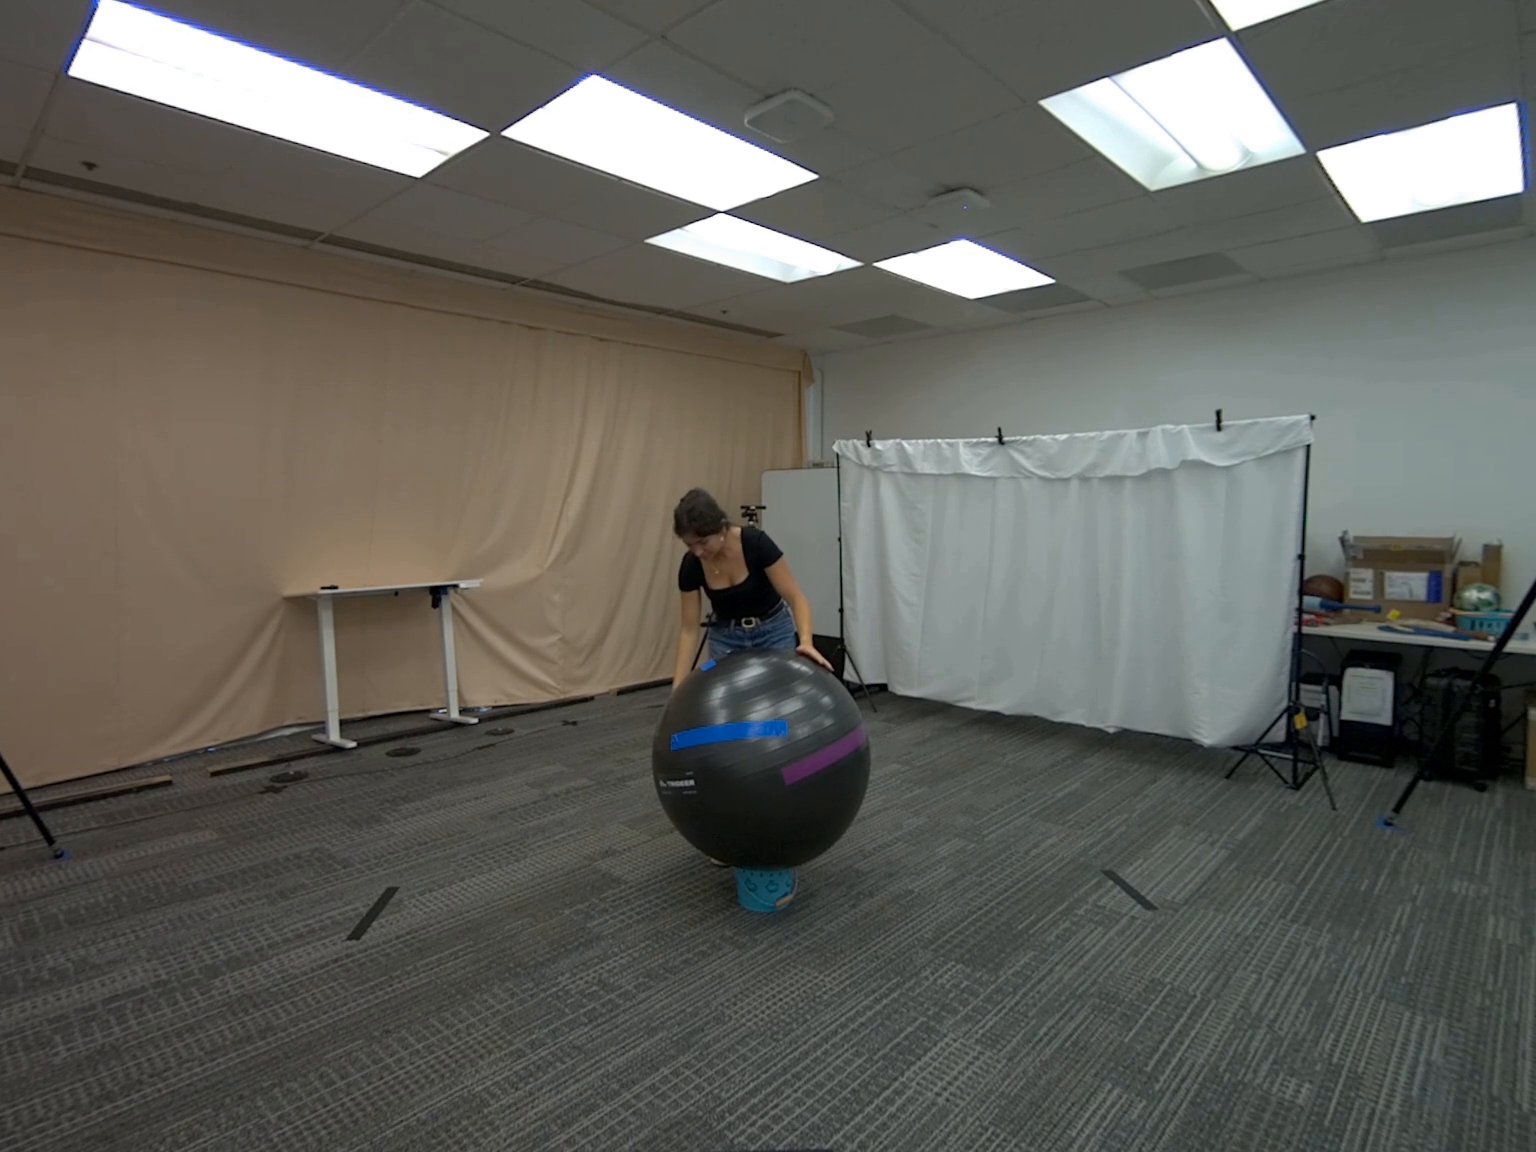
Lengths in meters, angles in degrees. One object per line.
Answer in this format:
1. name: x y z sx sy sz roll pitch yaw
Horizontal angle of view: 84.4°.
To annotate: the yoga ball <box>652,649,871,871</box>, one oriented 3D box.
1. yoga ball: -0.038 0.644 2.952 0.757 0.756 0.760 0 4 -2
